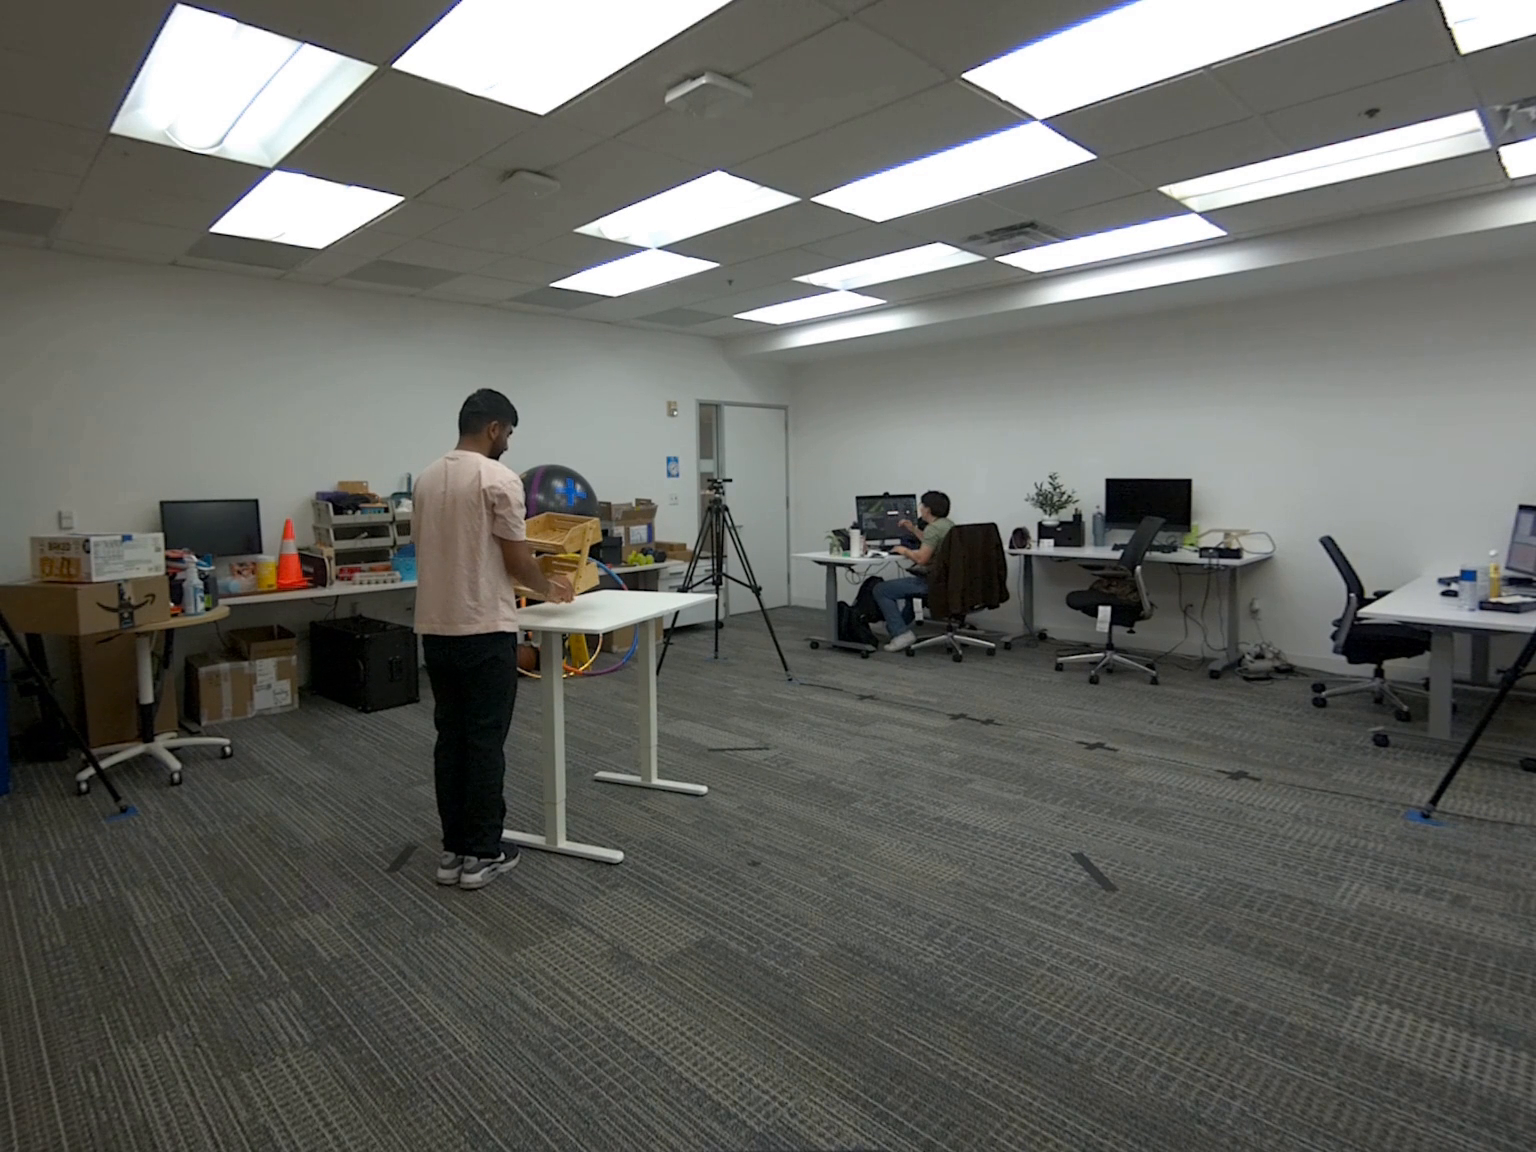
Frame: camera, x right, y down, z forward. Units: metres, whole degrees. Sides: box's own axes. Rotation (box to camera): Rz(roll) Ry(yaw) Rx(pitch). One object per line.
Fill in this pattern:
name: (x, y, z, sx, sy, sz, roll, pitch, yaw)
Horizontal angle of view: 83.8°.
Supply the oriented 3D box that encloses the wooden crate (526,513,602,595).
wooden crate: (-0.870, -0.079, 3.409, 0.334, 0.269, 0.298, 7, 22, 35)
